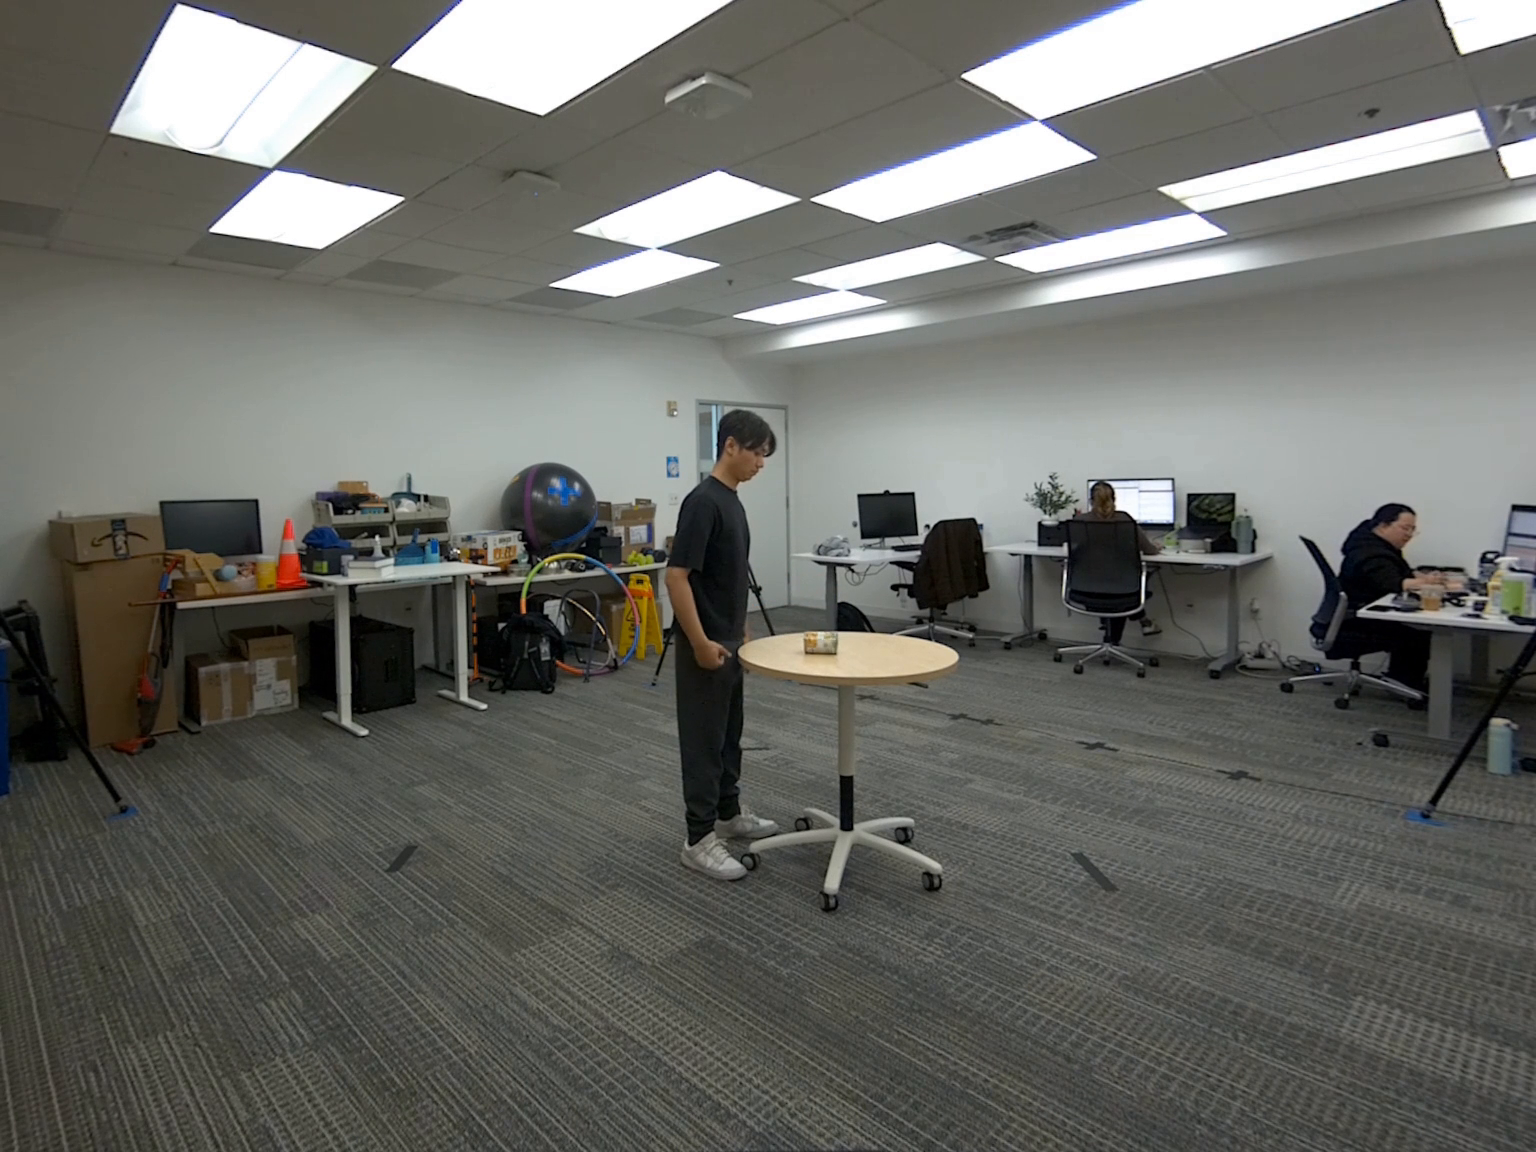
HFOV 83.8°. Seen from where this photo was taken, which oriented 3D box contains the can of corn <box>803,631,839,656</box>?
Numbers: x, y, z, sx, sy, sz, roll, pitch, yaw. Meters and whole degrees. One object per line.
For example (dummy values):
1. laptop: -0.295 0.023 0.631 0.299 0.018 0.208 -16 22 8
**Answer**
1. can of corn: 0.188 0.231 2.987 0.112 0.074 0.074 0 5 6
